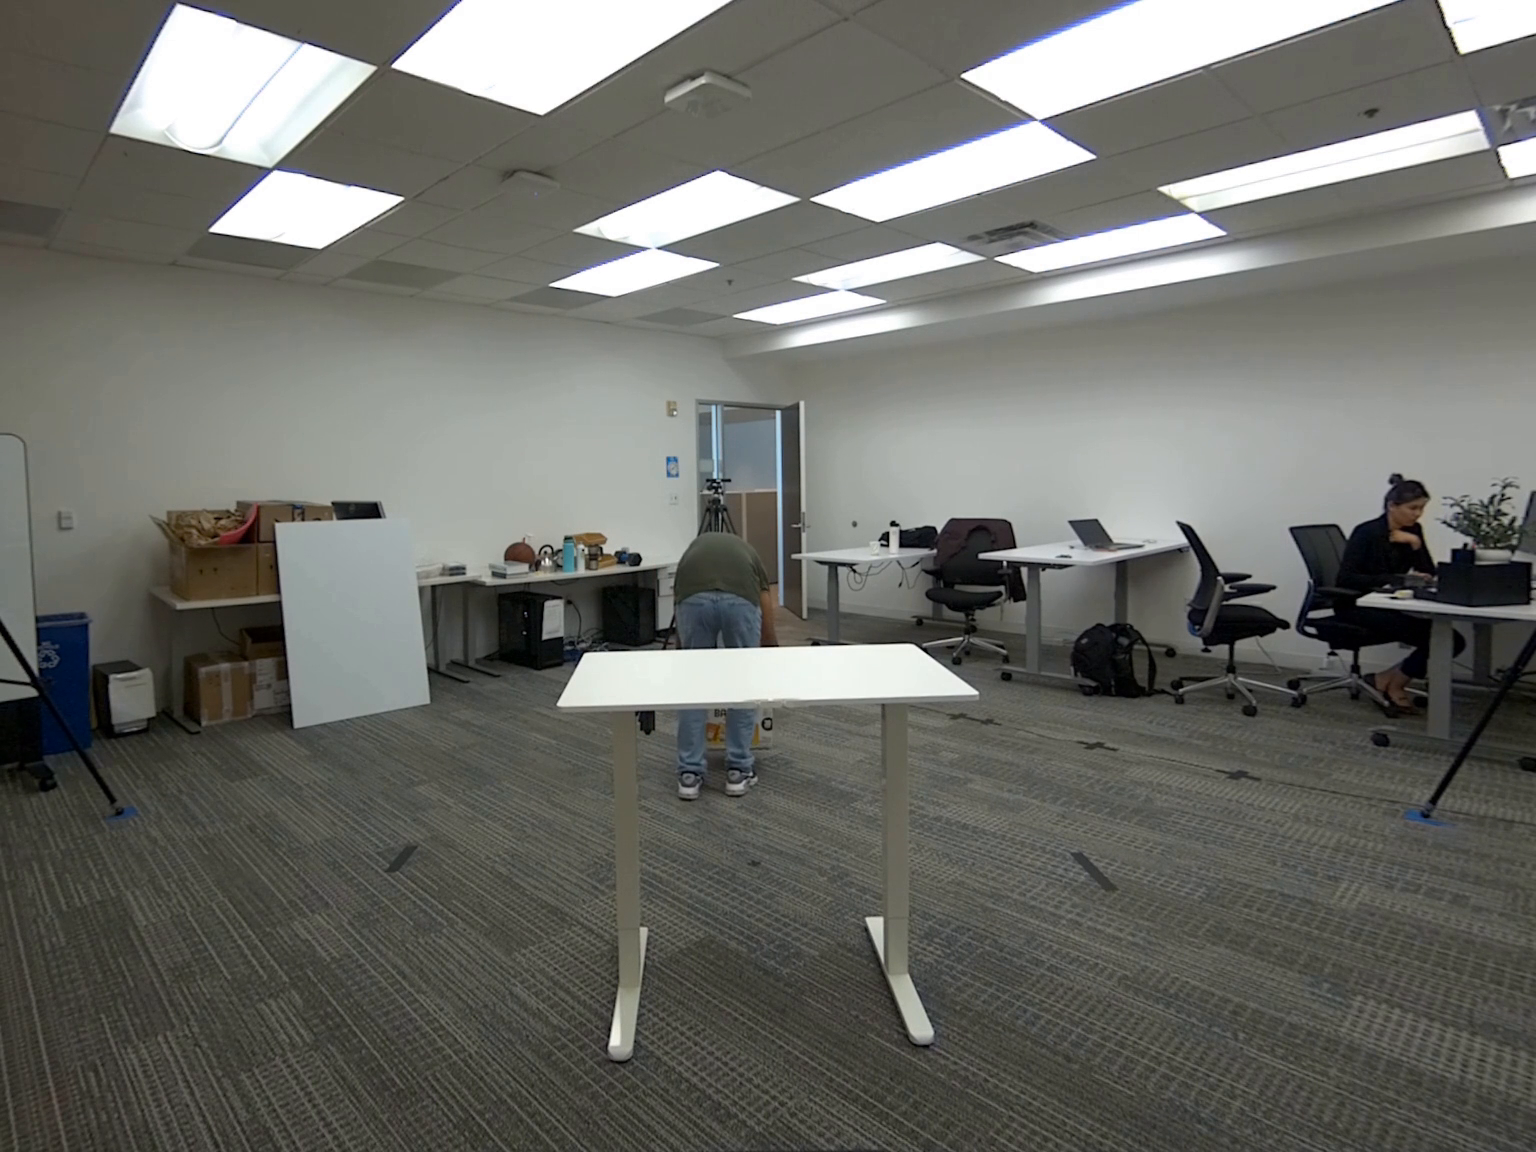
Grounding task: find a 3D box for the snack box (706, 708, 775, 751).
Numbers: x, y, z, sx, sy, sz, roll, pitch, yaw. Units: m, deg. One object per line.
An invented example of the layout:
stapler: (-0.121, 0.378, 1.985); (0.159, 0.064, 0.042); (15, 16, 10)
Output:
snack box: (-0.180, 0.687, 4.209); (0.405, 0.205, 0.341); (0, 5, 0)
